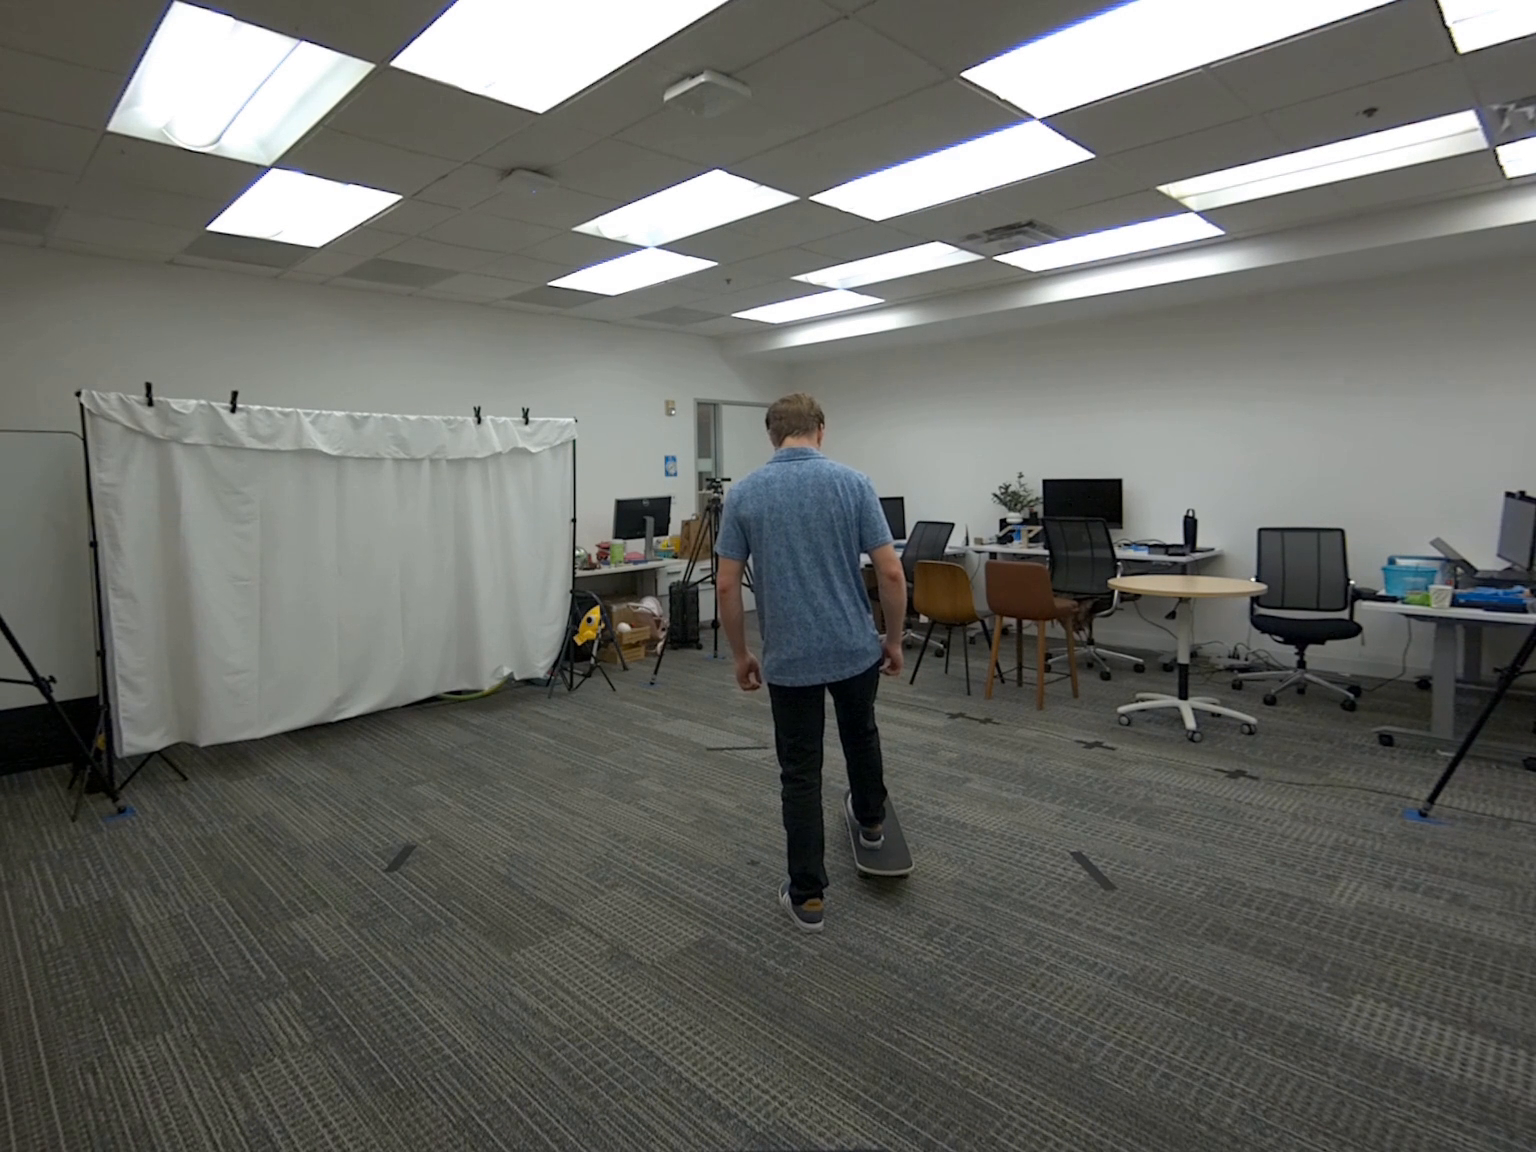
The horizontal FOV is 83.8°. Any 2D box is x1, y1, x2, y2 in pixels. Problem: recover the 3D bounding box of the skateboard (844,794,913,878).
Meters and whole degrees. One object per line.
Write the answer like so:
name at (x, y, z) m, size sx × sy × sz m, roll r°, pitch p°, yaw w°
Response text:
skateboard at (0.399, 0.965, 3.180) m, size 0.194 × 0.110 × 0.788 m, roll -2°, pitch 7°, yaw 0°
